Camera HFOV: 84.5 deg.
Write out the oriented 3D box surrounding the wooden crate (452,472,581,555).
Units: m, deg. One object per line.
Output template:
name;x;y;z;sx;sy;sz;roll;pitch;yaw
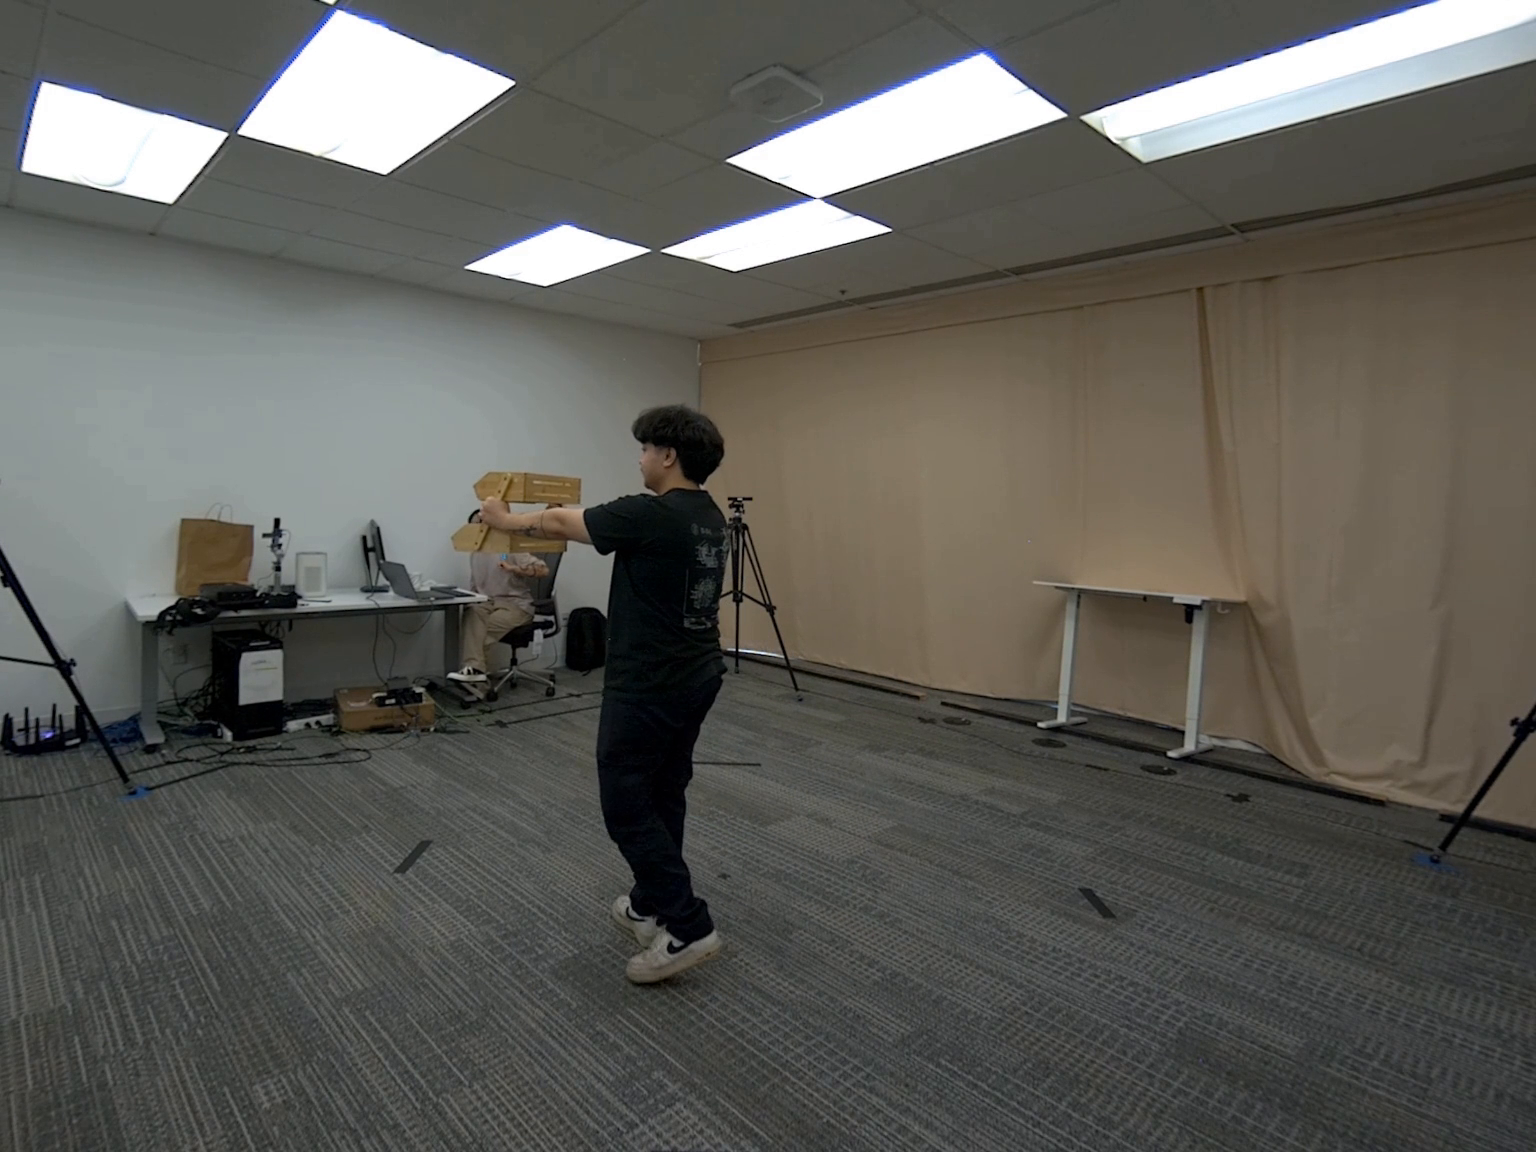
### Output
wooden crate;-0.869;-0.219;2.852;0.308;0.273;0.319;4;3;24
